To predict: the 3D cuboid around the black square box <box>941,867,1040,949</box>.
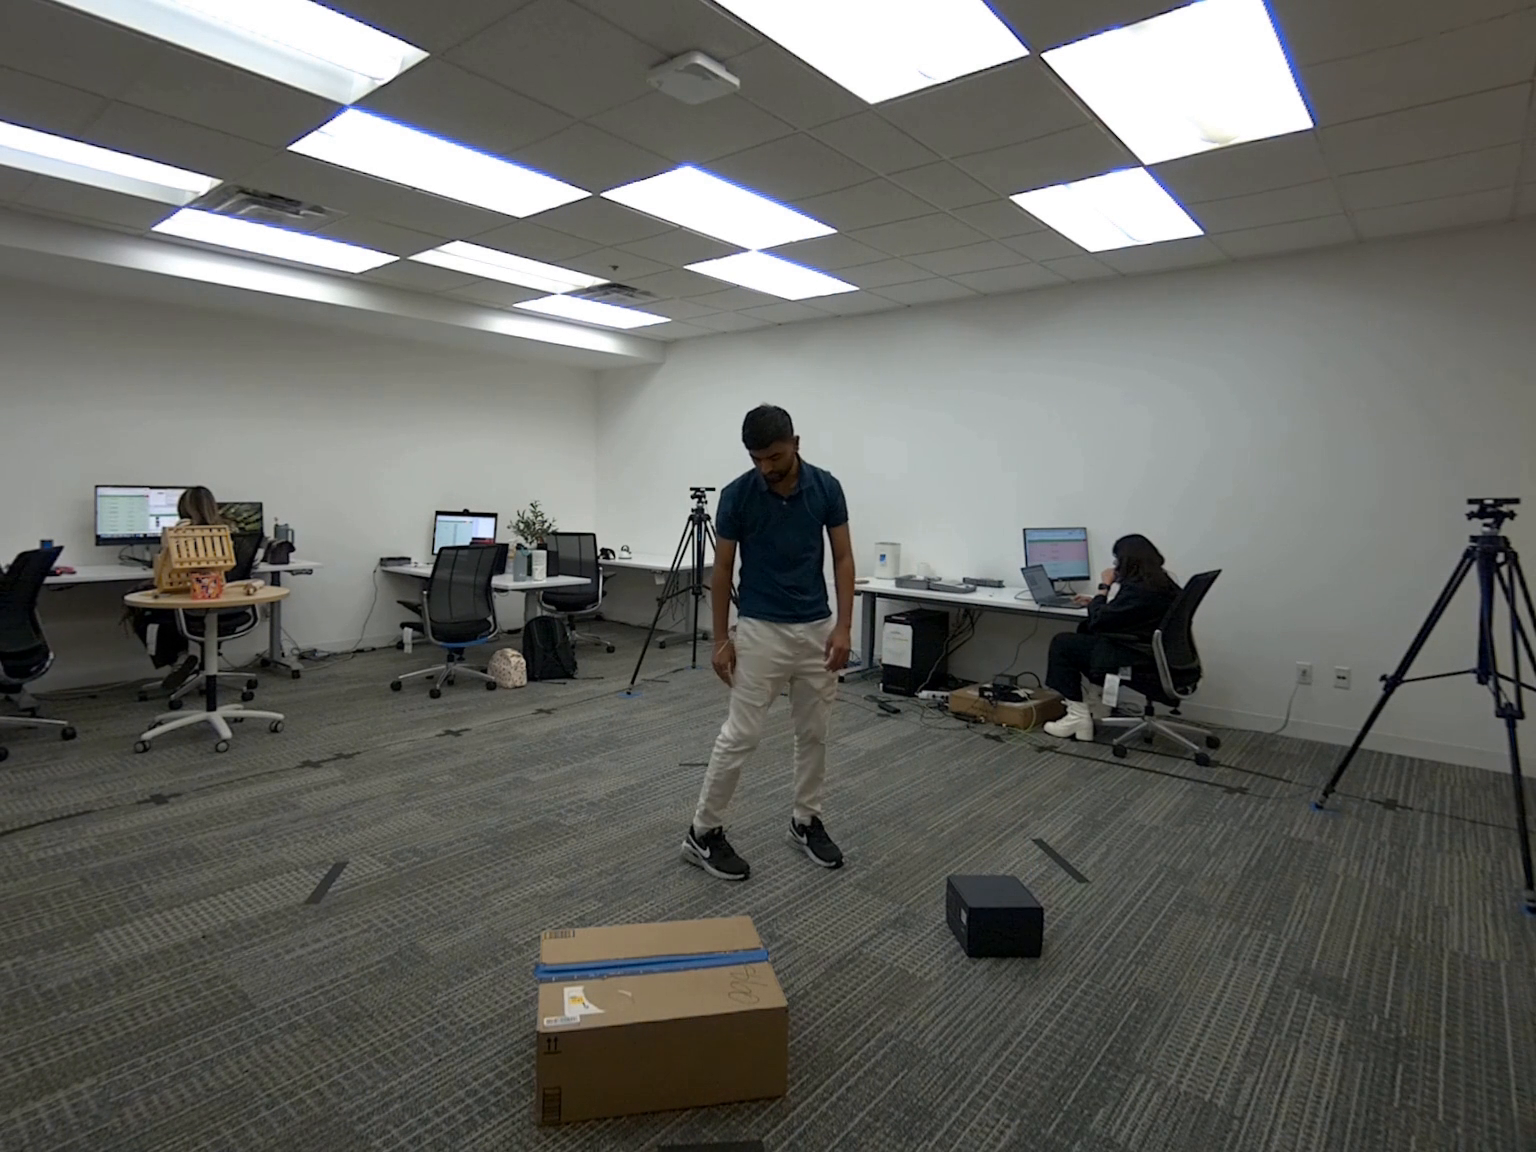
[{"bbox_3d":[0.696,1.043,2.658,0.227,0.155,0.218,1,4,-5],"label":"black square box"}]
